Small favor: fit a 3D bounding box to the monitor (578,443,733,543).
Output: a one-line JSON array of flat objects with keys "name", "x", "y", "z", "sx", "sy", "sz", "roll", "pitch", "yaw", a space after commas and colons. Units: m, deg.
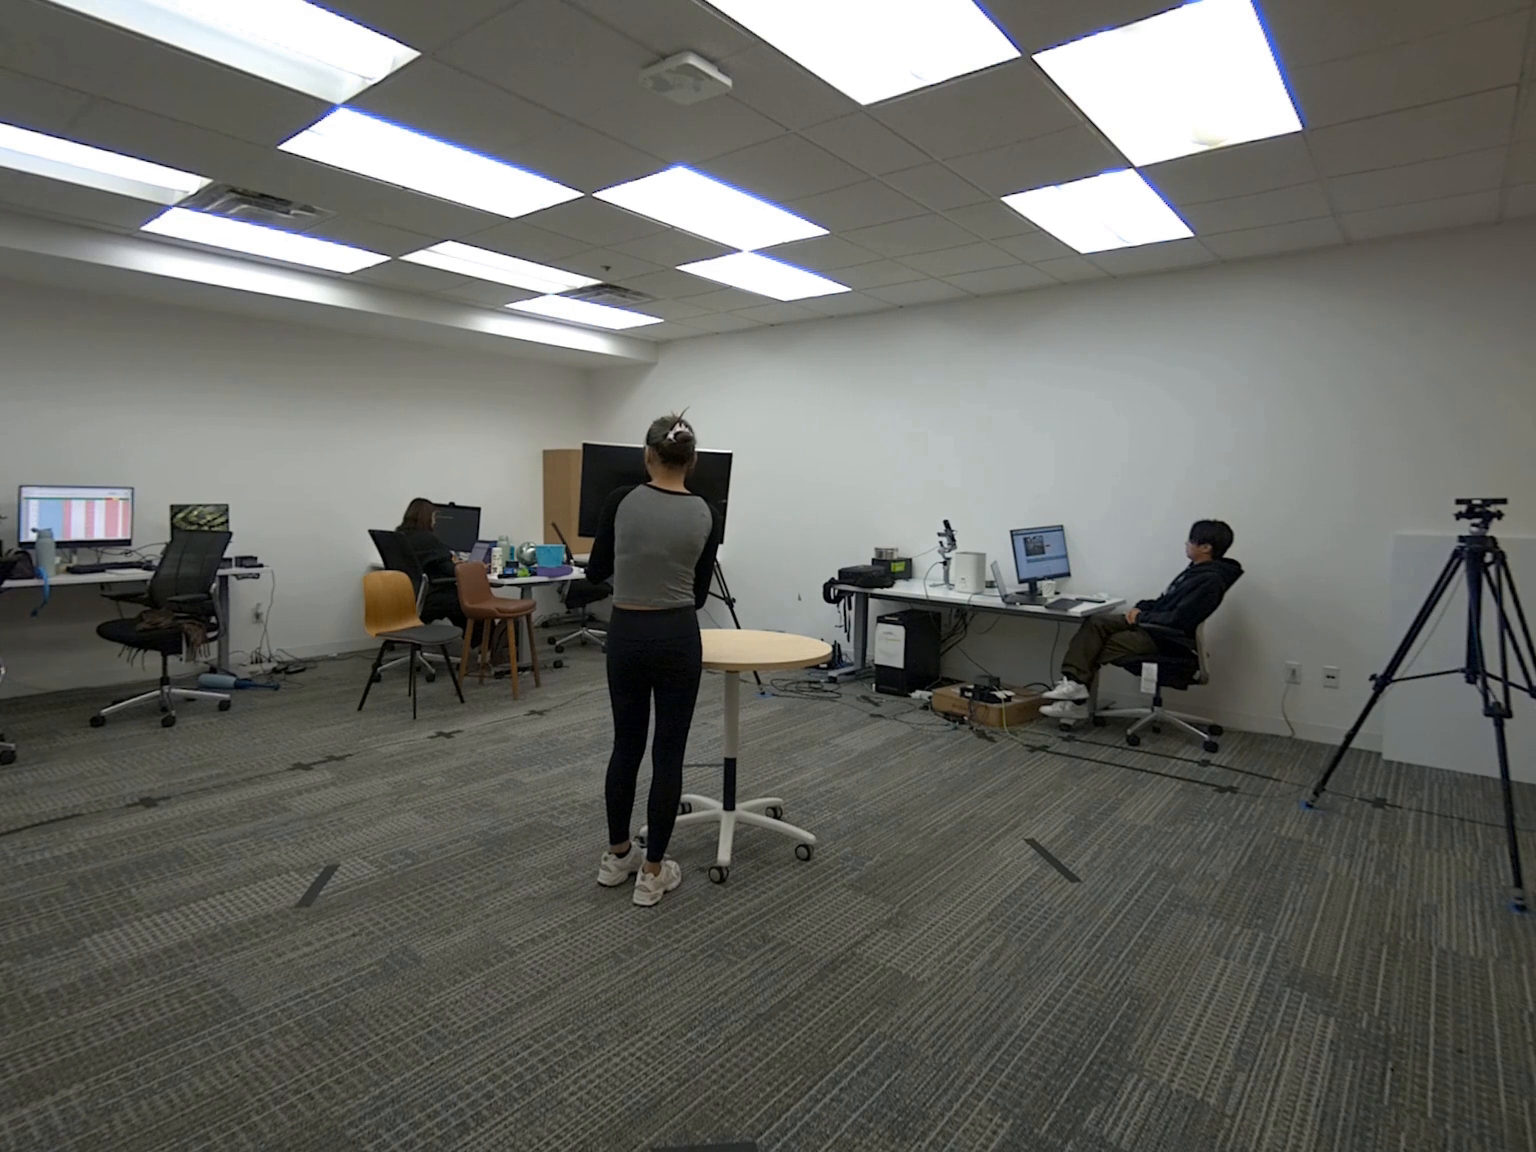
[{"name": "monitor", "x": -0.435, "y": -0.206, "z": 3.150, "sx": 0.532, "sy": 0.520, "sz": 0.190, "roll": 3, "pitch": 4, "yaw": -12}]
